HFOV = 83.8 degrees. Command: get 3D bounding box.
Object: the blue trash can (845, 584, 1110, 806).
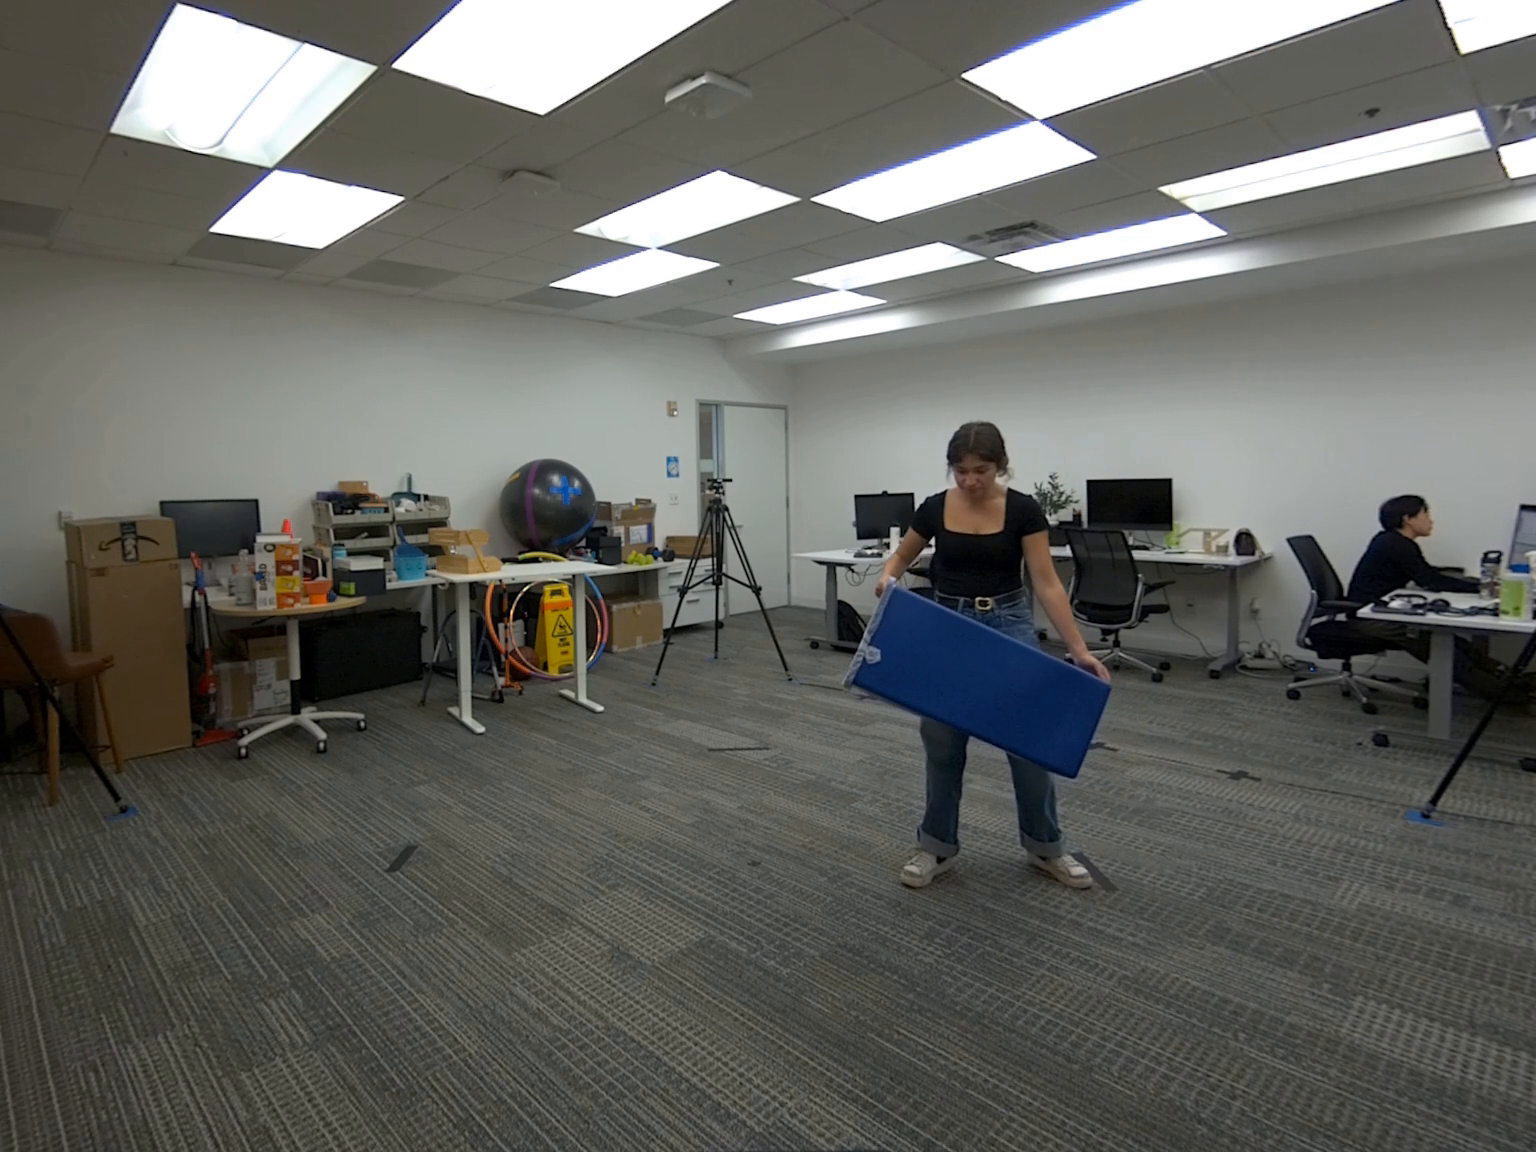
[{"bbox_3d":[0.636,0.337,2.697,0.726,0.375,0.371,25,-7,13],"label":"blue trash can"}]
